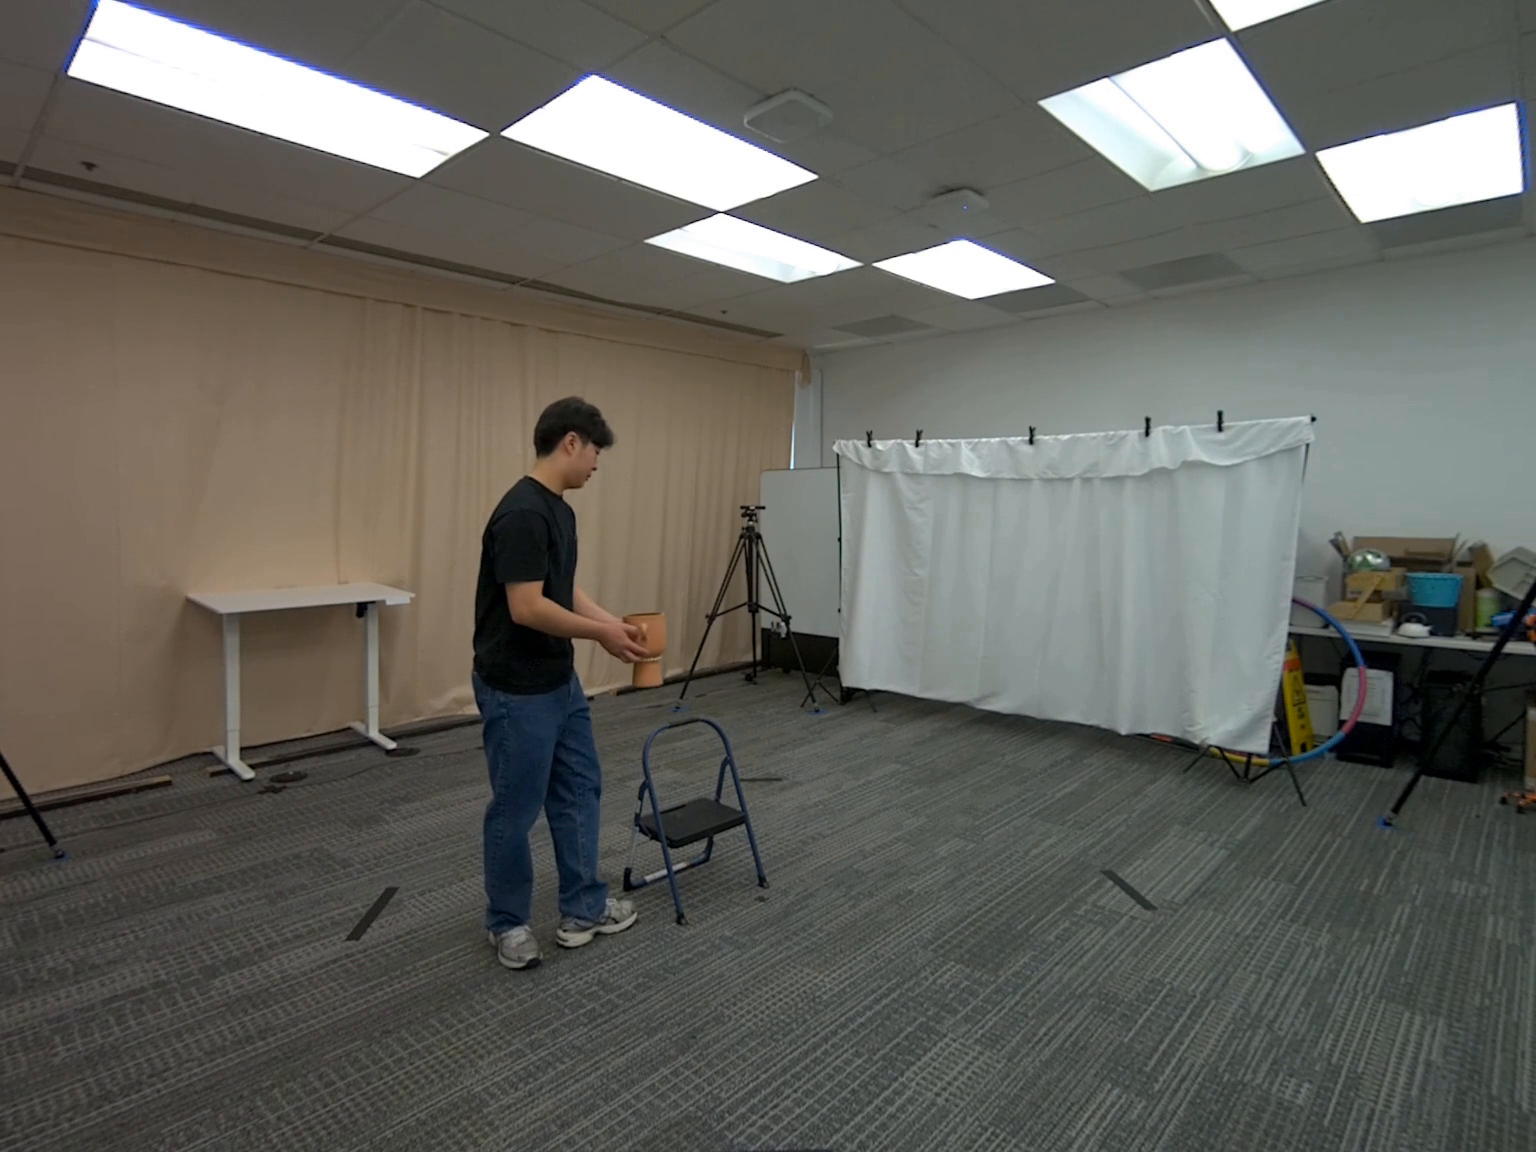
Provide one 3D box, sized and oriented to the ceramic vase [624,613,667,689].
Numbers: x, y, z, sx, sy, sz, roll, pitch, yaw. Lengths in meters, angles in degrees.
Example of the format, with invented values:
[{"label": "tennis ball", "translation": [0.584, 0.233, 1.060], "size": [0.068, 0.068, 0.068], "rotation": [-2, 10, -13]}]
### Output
[{"label": "ceramic vase", "translation": [-0.378, 0.238, 2.616], "size": [0.138, 0.220, 0.154], "rotation": [-3, -1, 33]}]
